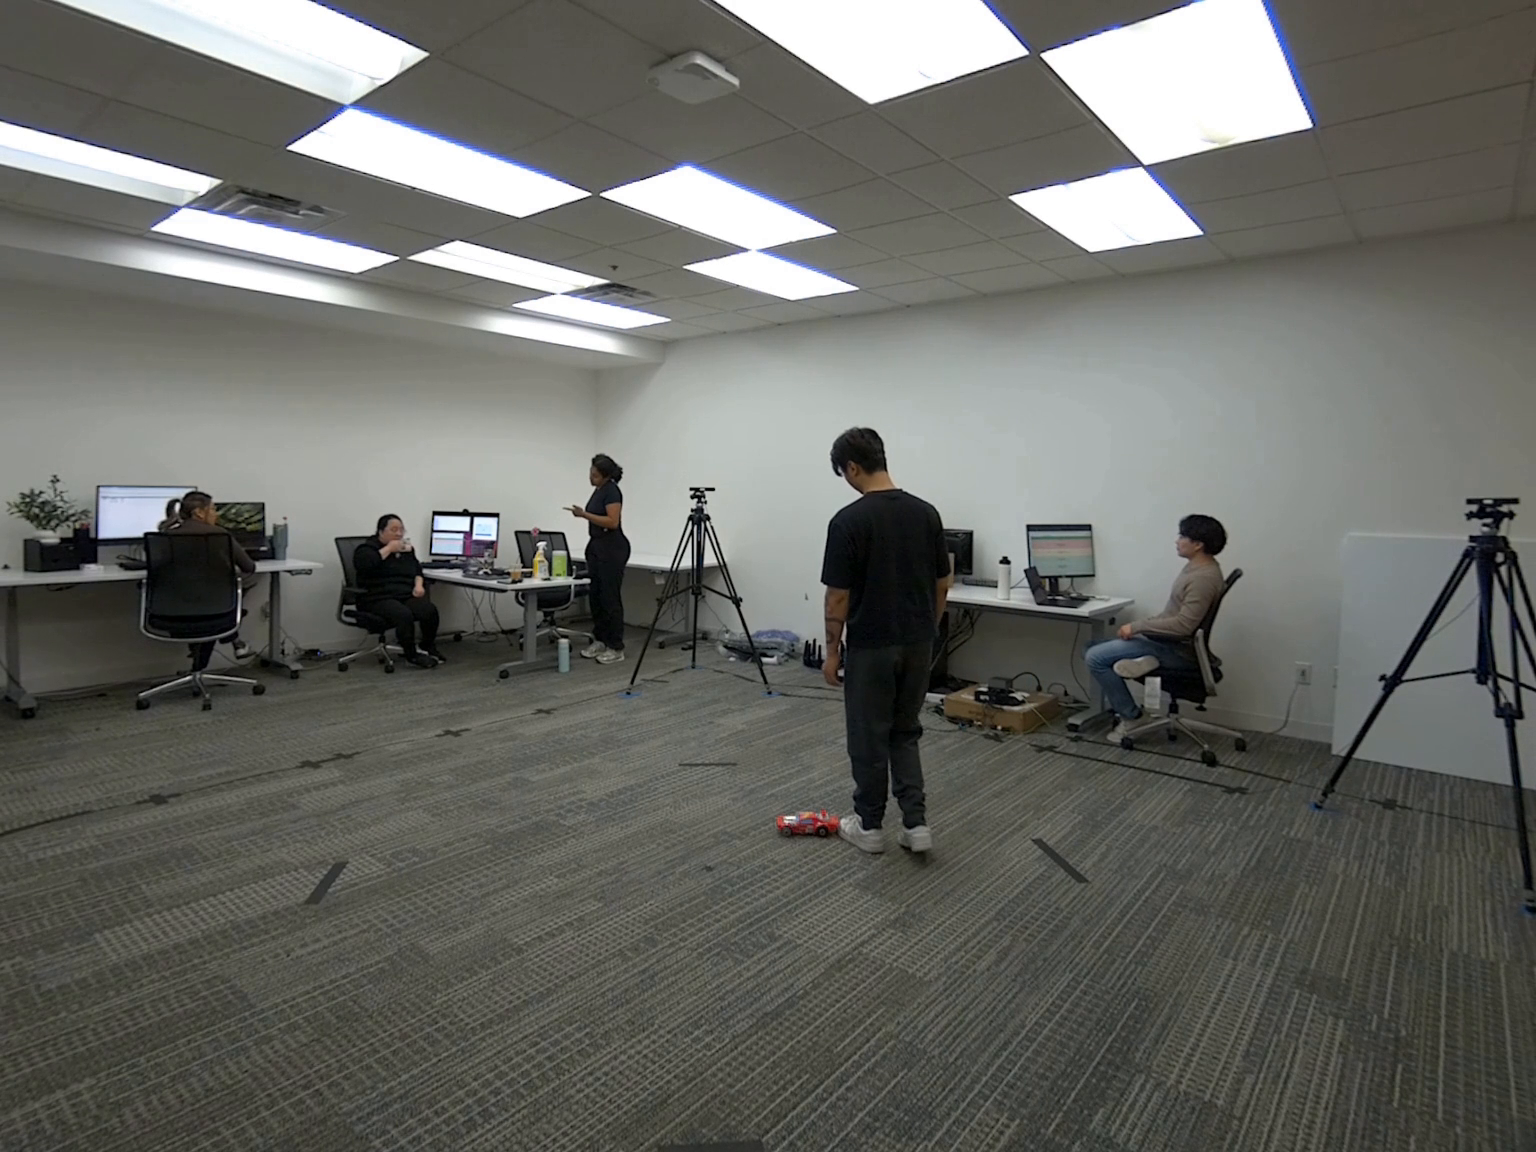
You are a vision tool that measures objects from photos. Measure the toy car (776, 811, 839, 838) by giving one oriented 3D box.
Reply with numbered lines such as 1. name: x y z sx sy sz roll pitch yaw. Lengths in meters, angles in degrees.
1. toy car: 0.158 1.008 3.467 0.254 0.083 0.131 -10 5 -1
